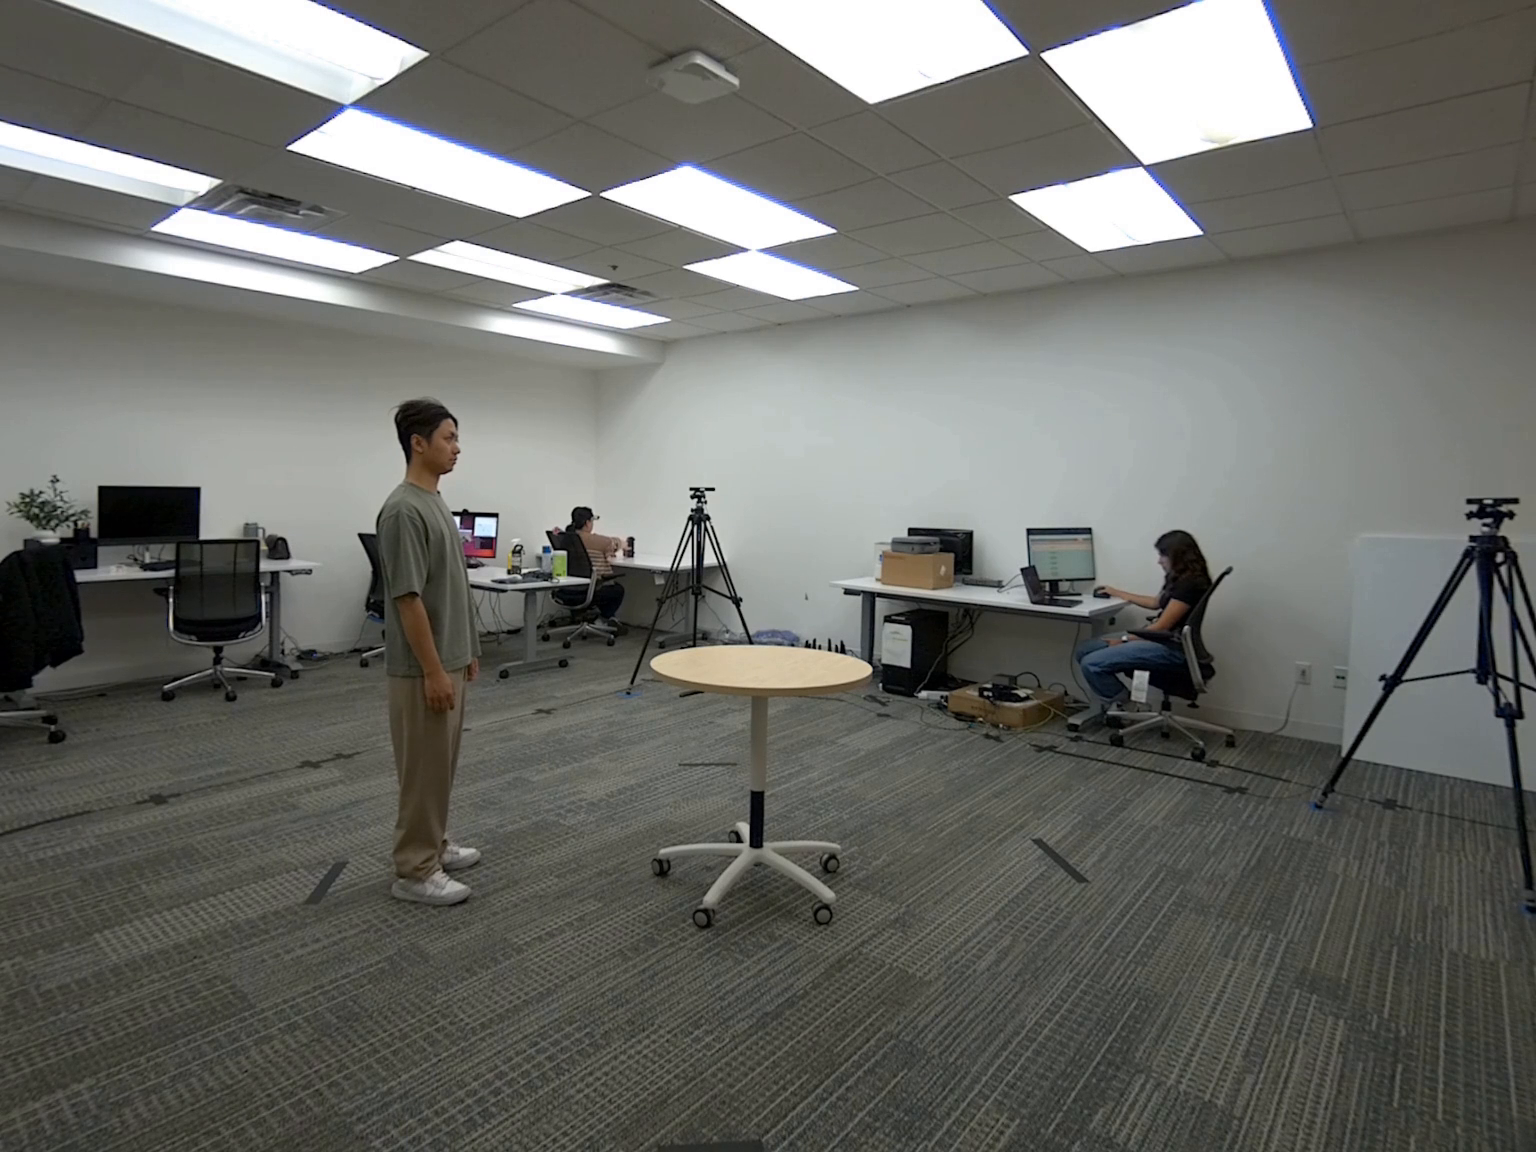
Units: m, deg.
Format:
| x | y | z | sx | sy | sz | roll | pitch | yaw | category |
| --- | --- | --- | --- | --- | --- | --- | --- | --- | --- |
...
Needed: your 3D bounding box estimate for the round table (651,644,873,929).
| x | y | z | sx | sy | sz | roll | pitch | yaw | category |
| --- | --- | --- | --- | --- | --- | --- | --- | --- | --- |
| -0.038 | 0.696 | 2.950 | 0.784 | 0.784 | 0.789 | 1 | 4 | -2 | round table |
